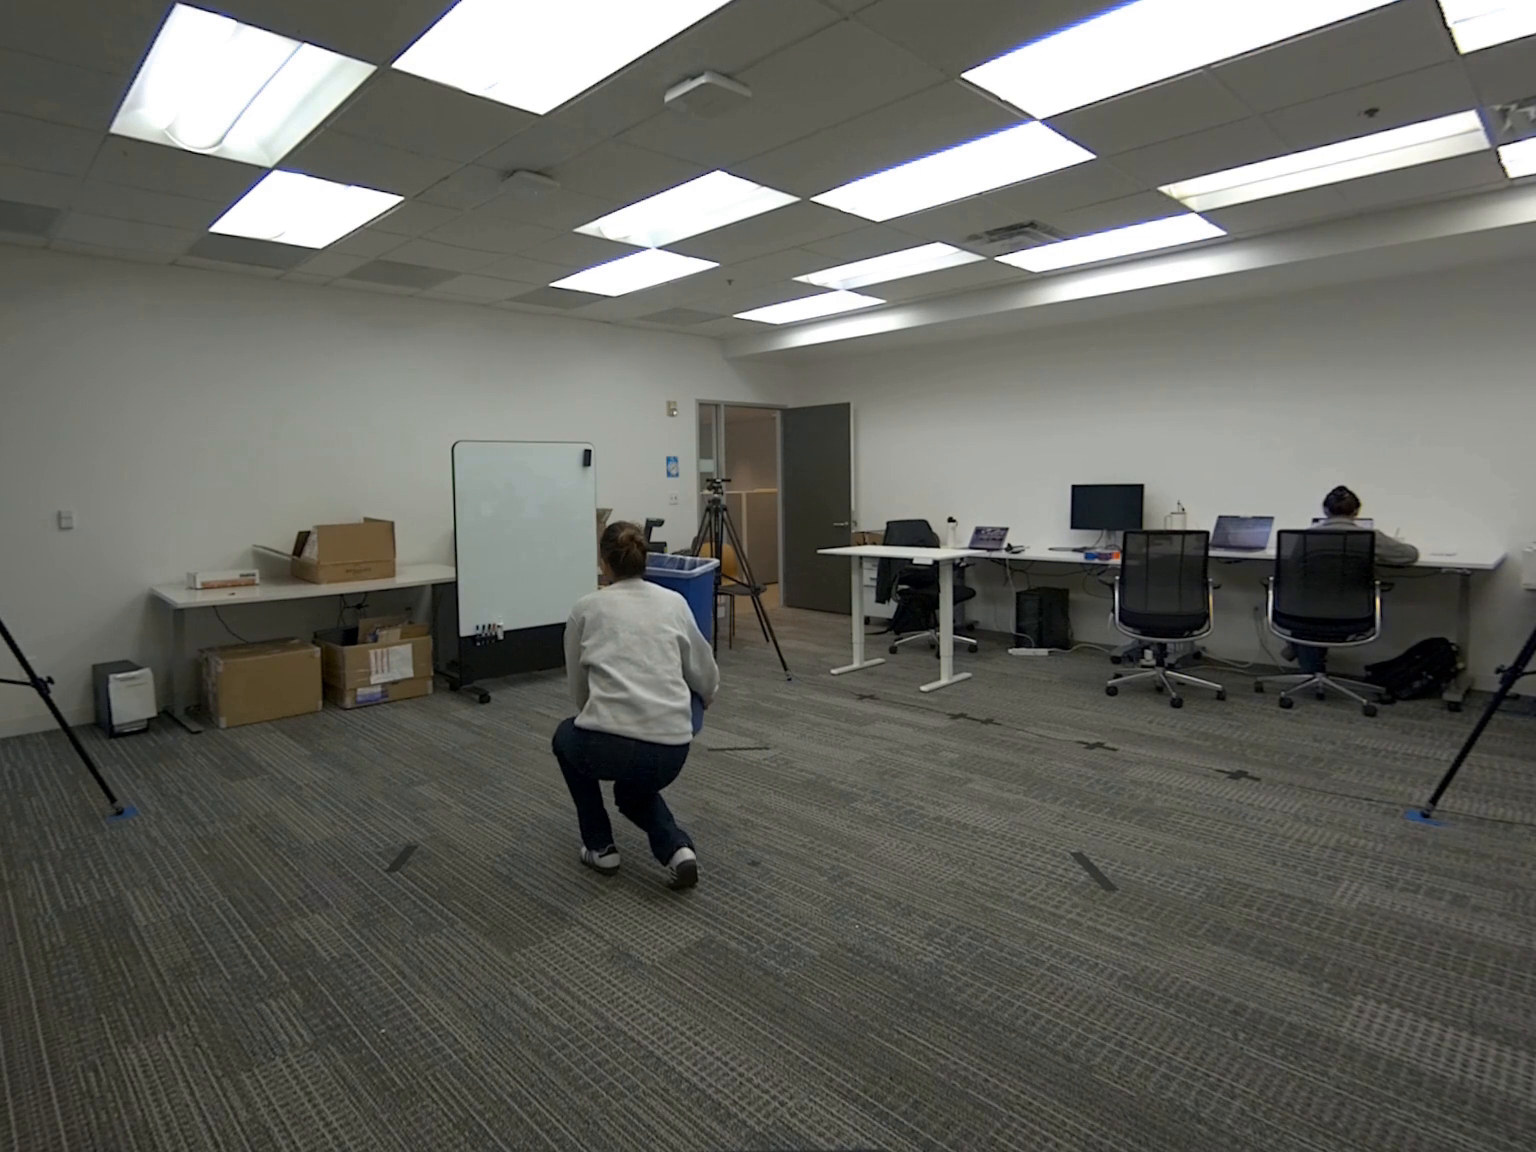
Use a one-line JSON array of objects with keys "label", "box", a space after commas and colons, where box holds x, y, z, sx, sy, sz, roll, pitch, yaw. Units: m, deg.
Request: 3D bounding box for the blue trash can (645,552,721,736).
[{"label": "blue trash can", "box": [-0.429, 0.291, 3.424, 0.385, 0.709, 0.370, 5, 7, 16]}]
